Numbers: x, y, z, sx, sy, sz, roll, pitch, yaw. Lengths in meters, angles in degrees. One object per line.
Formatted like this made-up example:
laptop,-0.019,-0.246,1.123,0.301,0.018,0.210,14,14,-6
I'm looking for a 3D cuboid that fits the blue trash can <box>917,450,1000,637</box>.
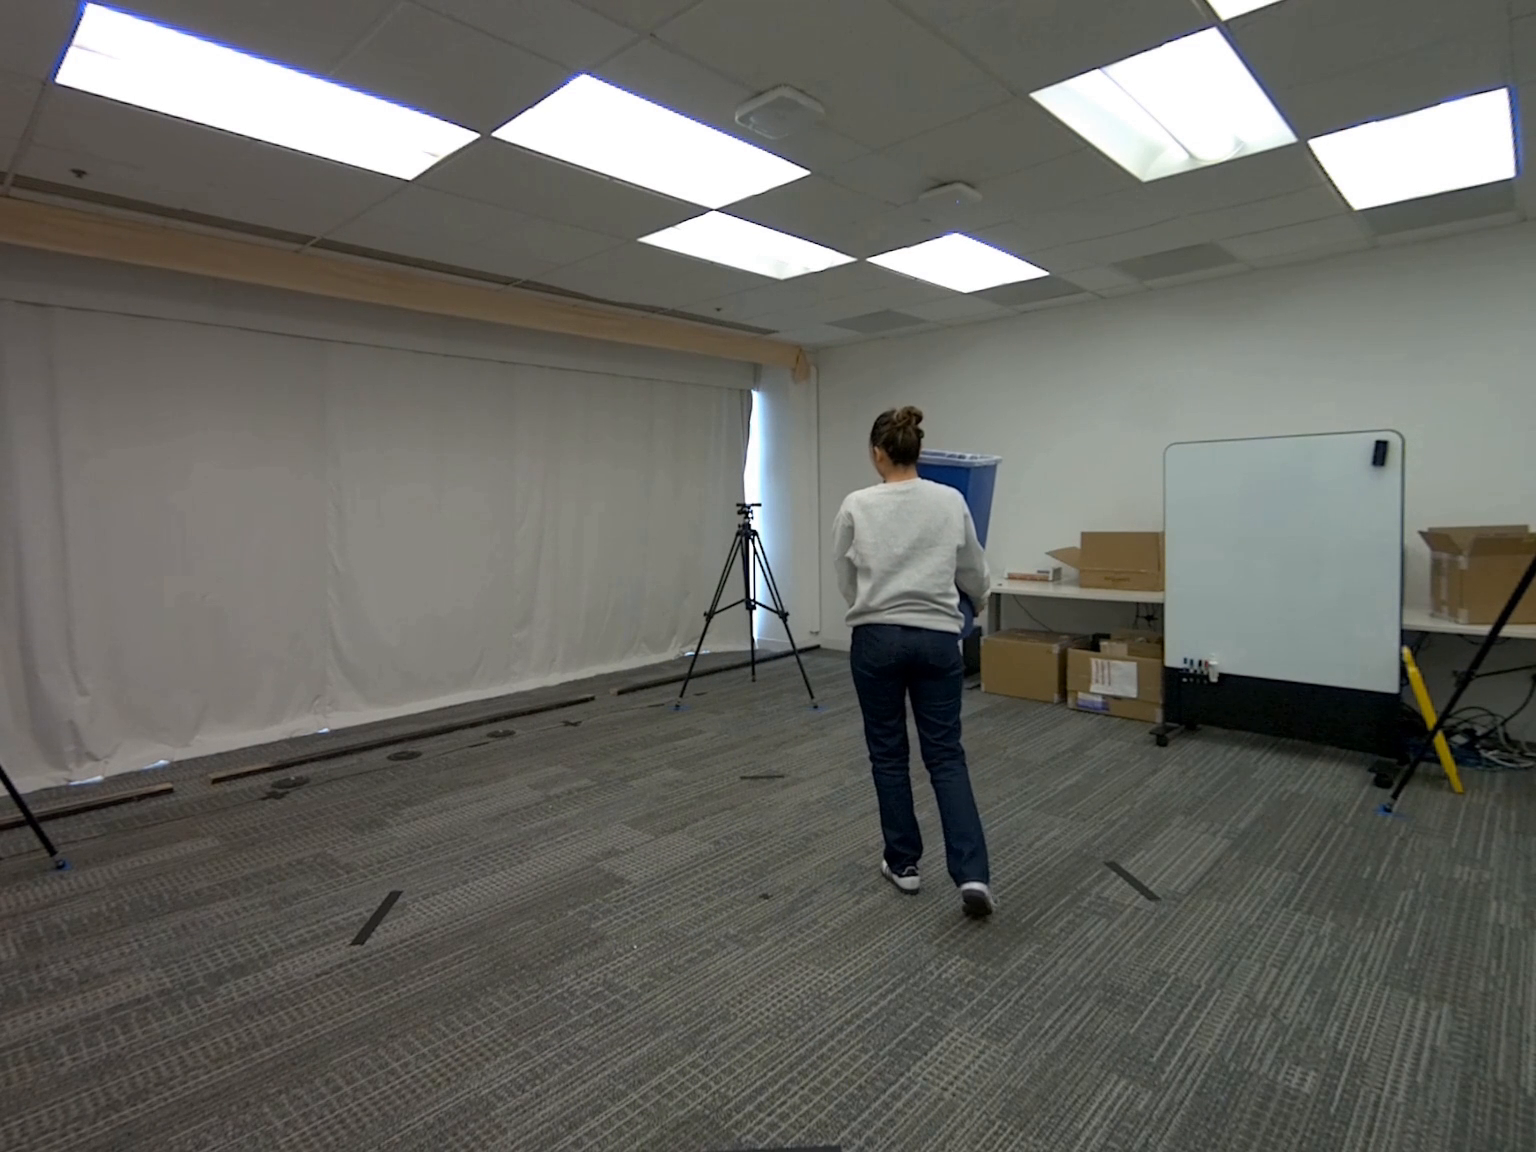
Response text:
blue trash can,0.655,-0.124,3.299,0.390,0.709,0.364,10,12,32
